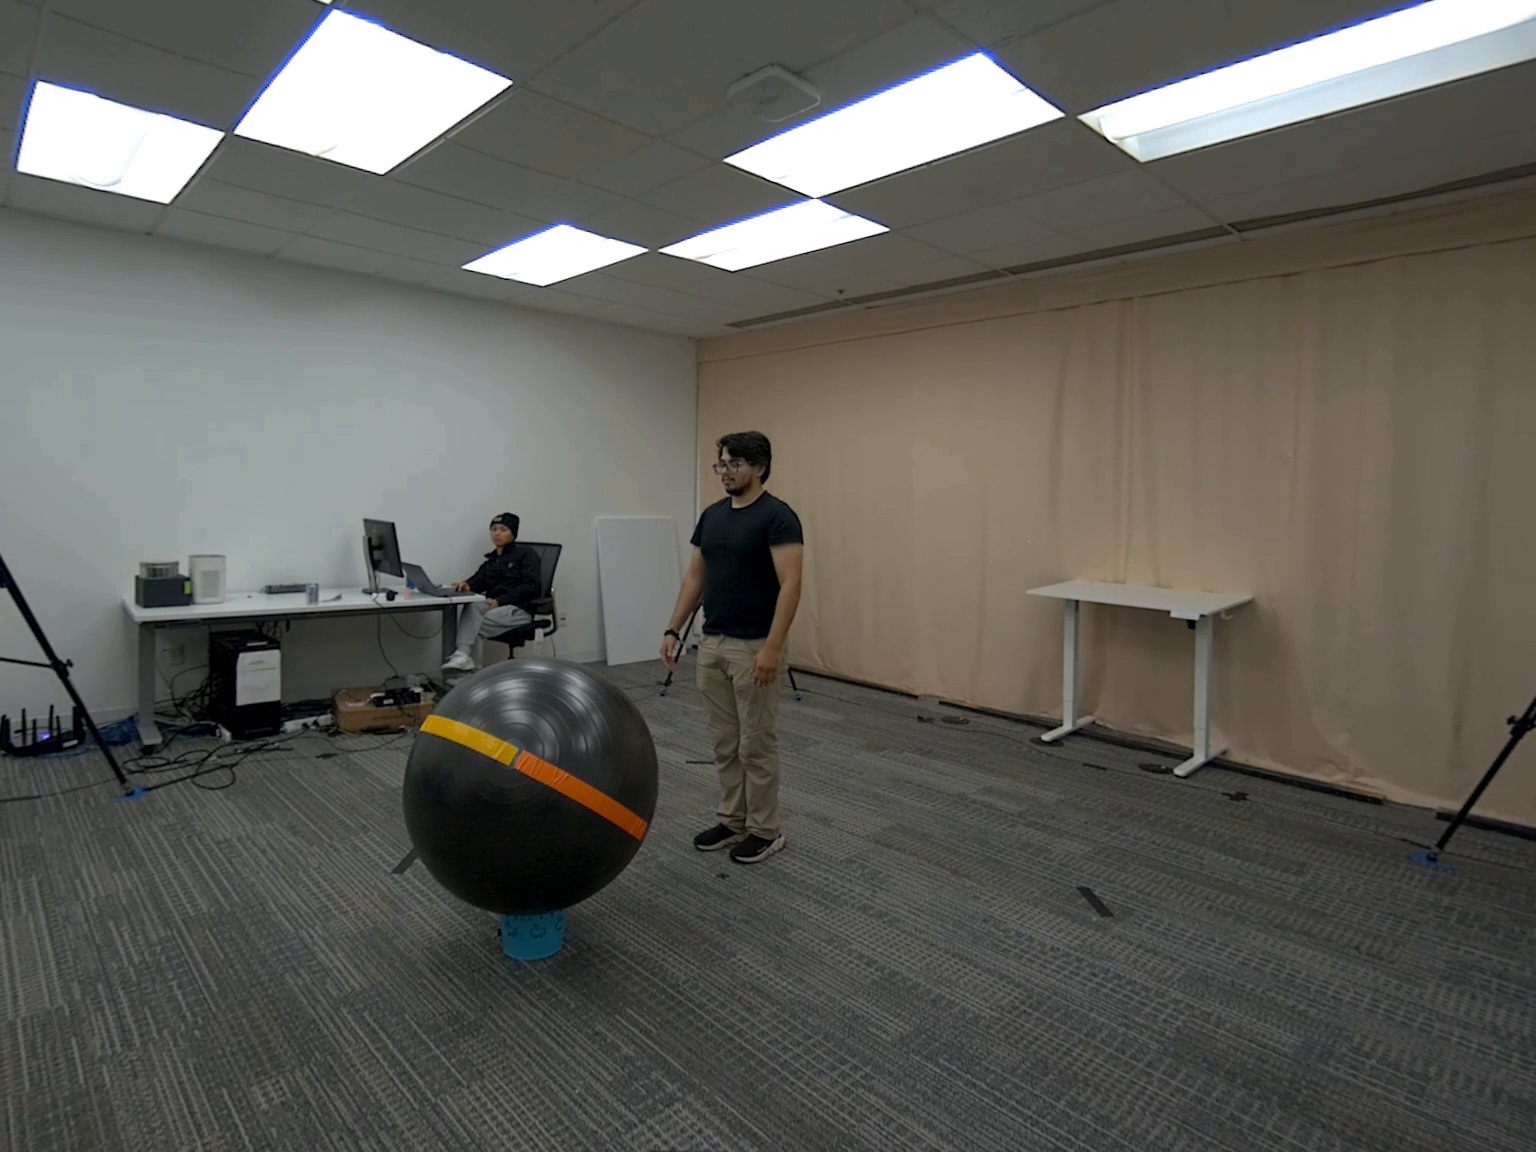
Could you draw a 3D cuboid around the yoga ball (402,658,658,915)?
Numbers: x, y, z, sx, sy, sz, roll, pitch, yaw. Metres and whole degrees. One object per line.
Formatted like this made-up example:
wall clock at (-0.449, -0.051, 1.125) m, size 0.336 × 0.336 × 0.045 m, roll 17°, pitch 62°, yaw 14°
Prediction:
yoga ball at (-0.722, 0.636, 2.581) m, size 0.757 × 0.756 × 0.761 m, roll 1°, pitch 4°, yaw -1°
